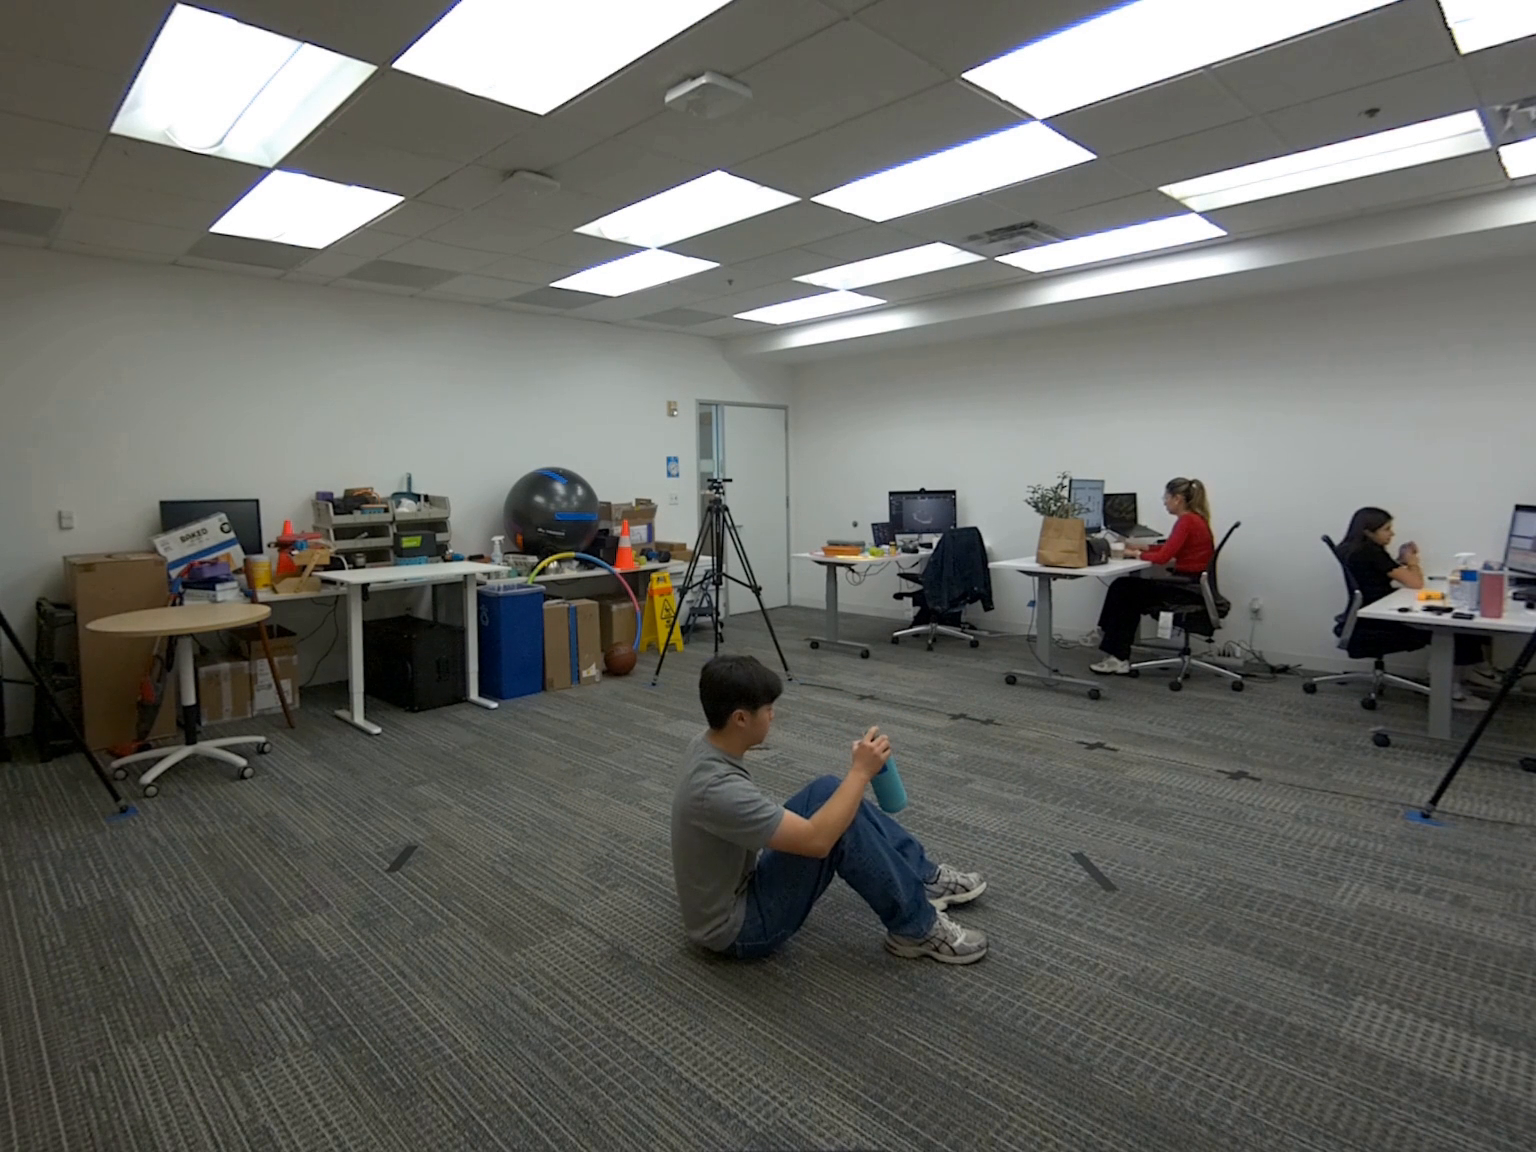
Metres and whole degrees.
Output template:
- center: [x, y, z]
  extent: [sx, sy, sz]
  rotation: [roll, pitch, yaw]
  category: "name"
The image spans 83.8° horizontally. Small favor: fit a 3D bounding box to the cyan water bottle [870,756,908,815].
- center: [0.349, 0.585, 2.570]
  extent: [0.093, 0.276, 0.094]
  rotation: [-17, 26, 7]
  category: "cyan water bottle"
